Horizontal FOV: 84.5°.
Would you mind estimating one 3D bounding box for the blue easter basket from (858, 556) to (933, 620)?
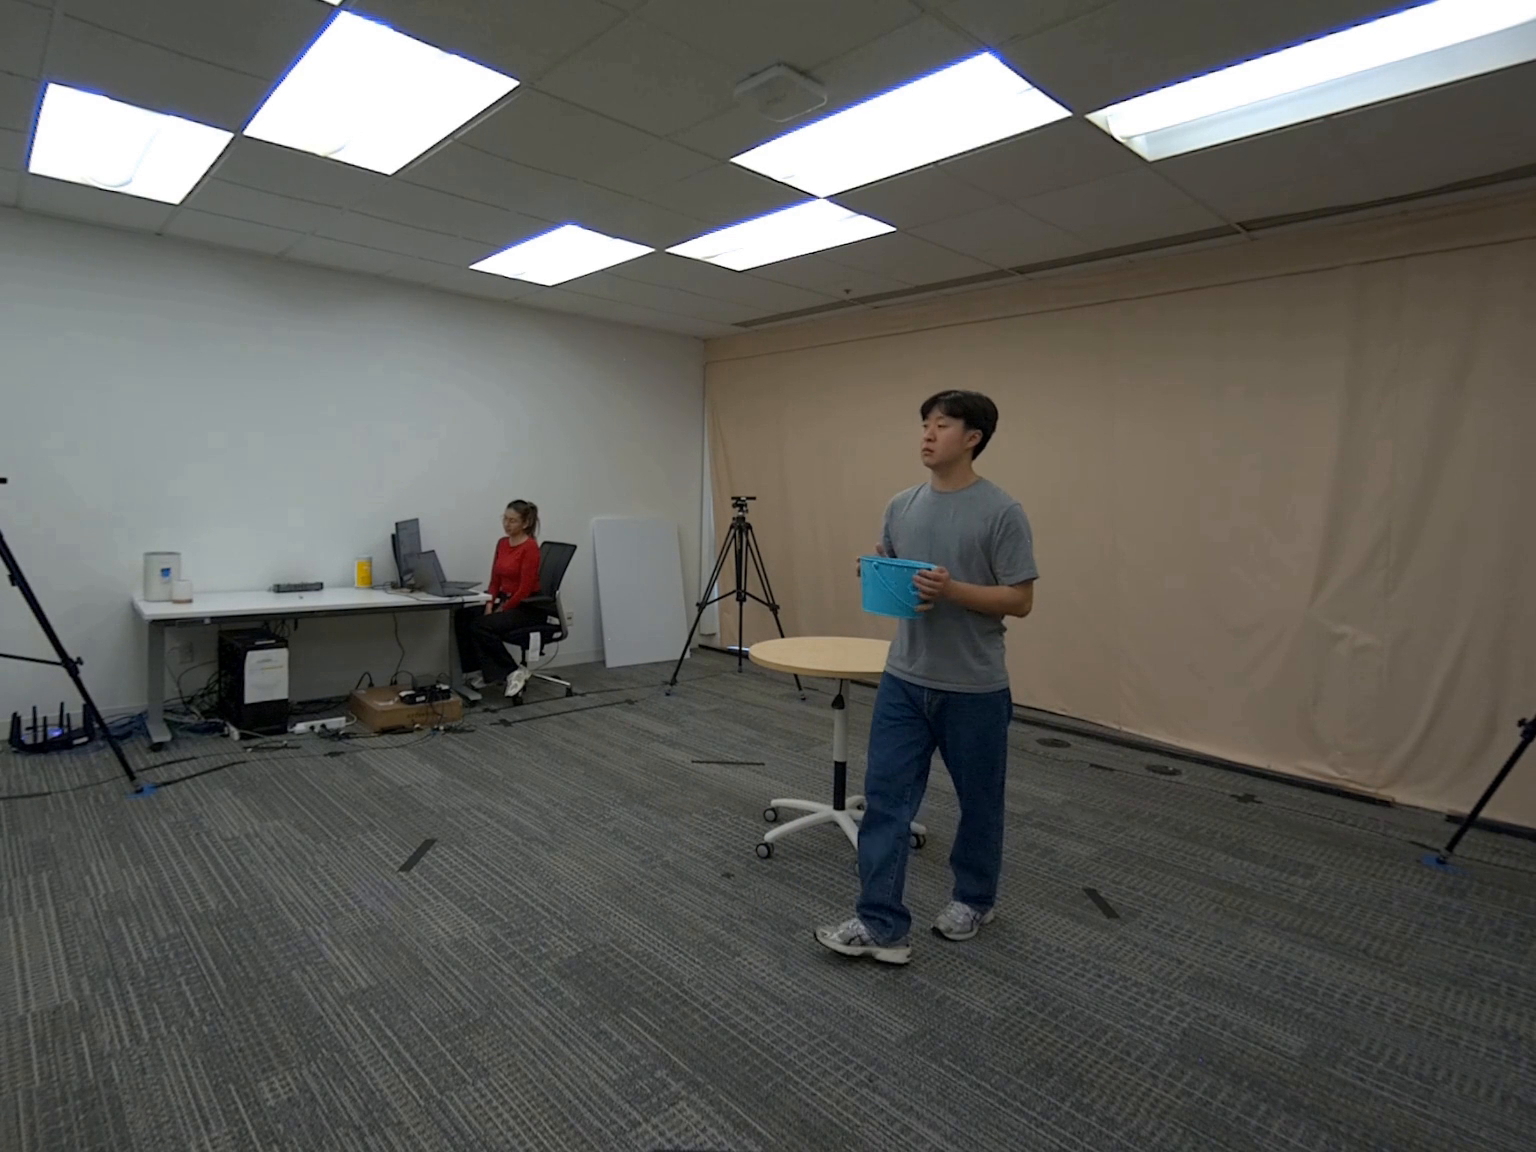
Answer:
[{"bbox_3d":[0.386,0.039,2.461,0.243,0.155,0.244,5,3,-2],"label":"blue easter basket"}]
